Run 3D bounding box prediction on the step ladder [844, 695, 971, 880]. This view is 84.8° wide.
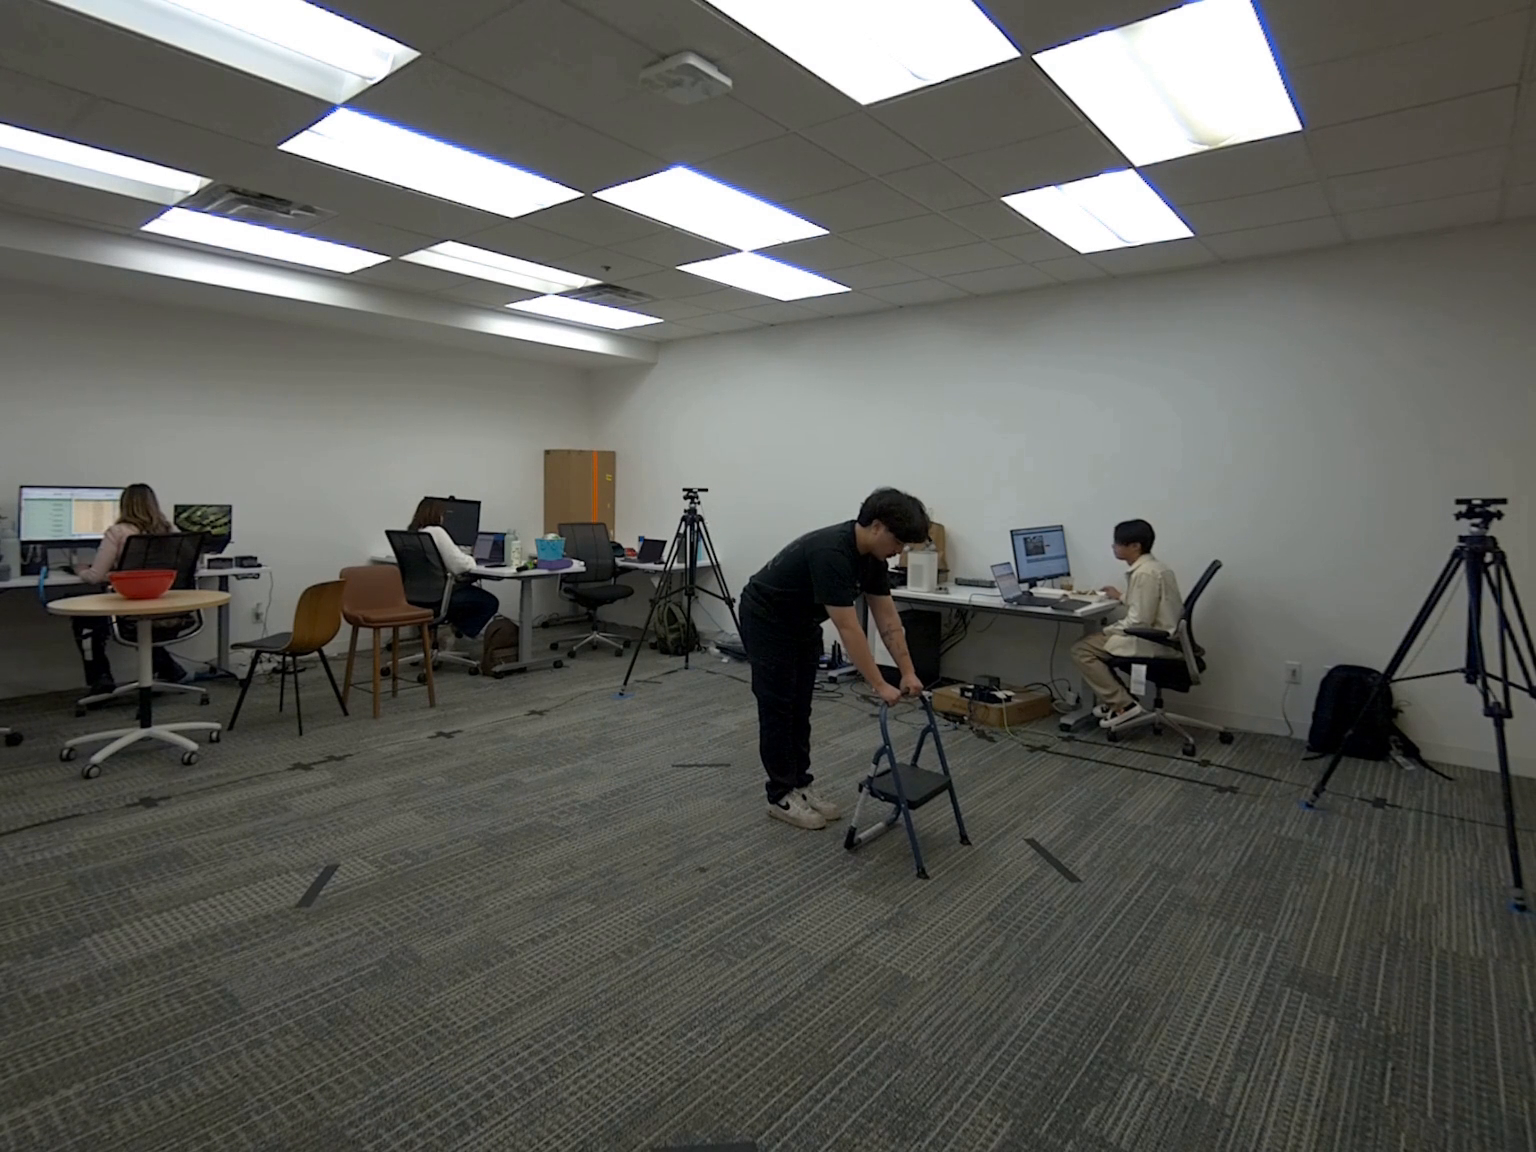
[{"bbox_3d":[0.562,0.759,3.321,0.361,0.604,0.418,7,6,36],"label":"step ladder"}]
